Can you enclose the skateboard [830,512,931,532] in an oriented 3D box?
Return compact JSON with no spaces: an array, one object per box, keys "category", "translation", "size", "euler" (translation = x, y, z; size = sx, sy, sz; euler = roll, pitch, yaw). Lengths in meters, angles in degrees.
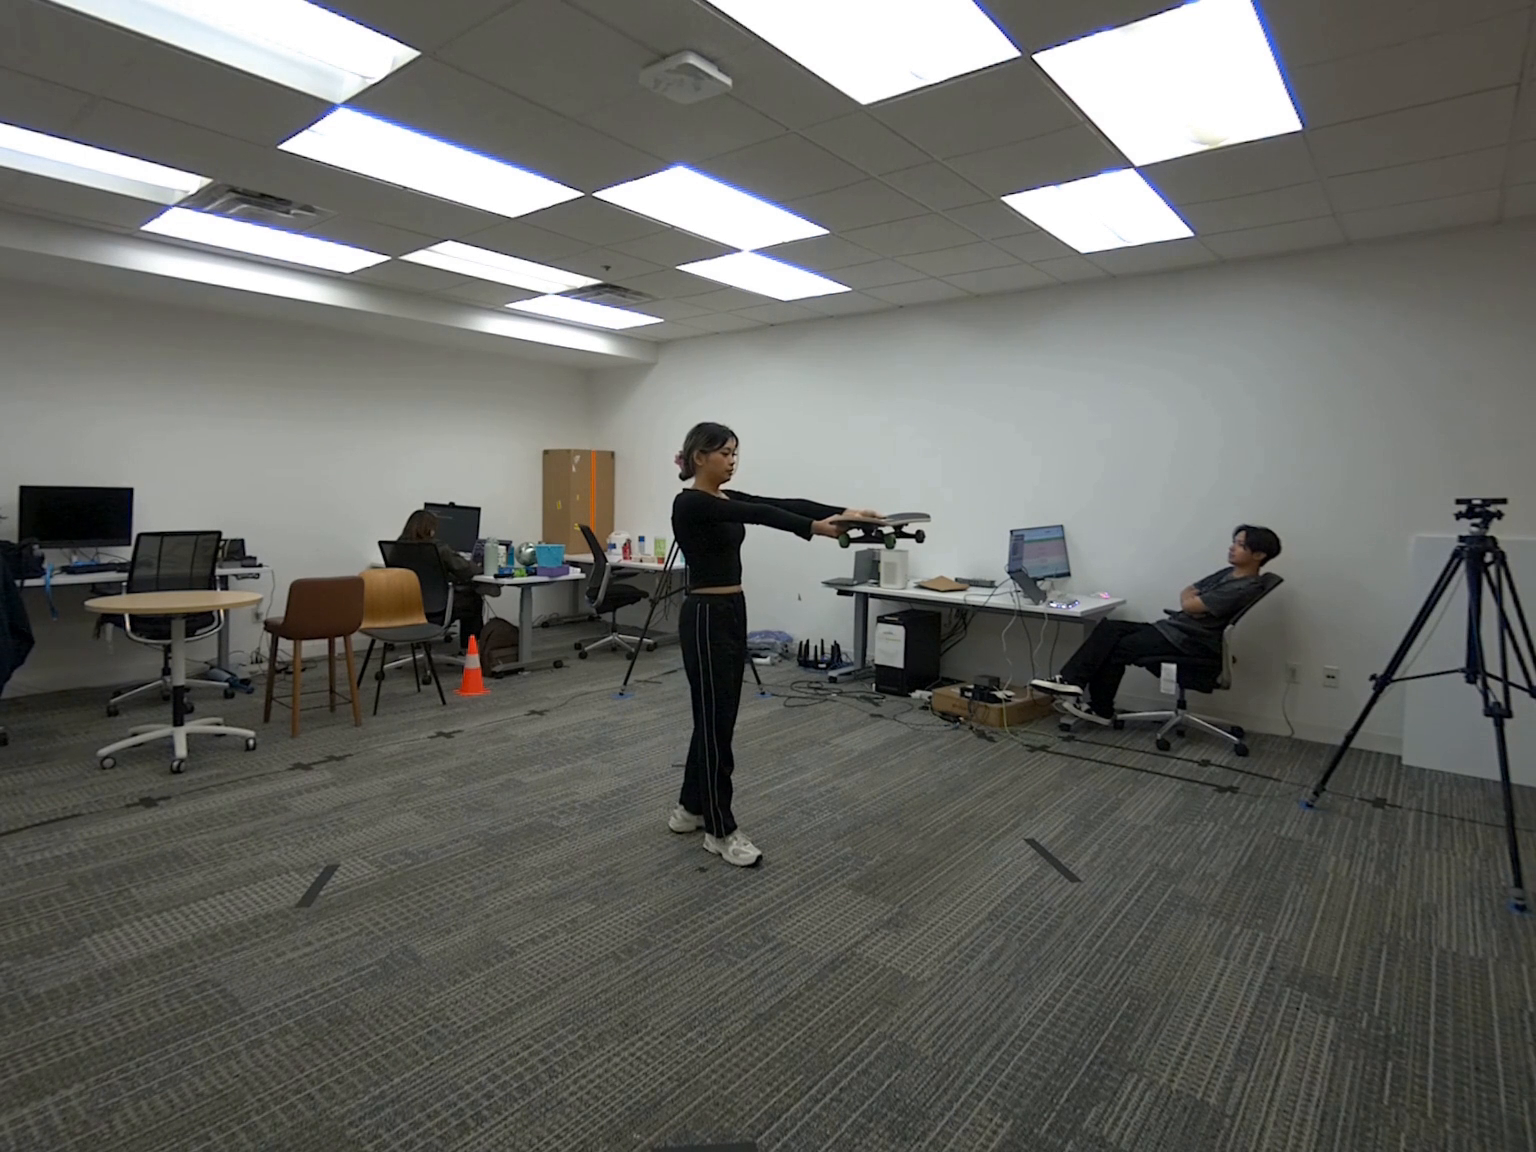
[{"category":"skateboard","translation":[0.394,-0.162,2.944],"size":[0.198,0.110,0.768],"euler":[0,5,25]}]
